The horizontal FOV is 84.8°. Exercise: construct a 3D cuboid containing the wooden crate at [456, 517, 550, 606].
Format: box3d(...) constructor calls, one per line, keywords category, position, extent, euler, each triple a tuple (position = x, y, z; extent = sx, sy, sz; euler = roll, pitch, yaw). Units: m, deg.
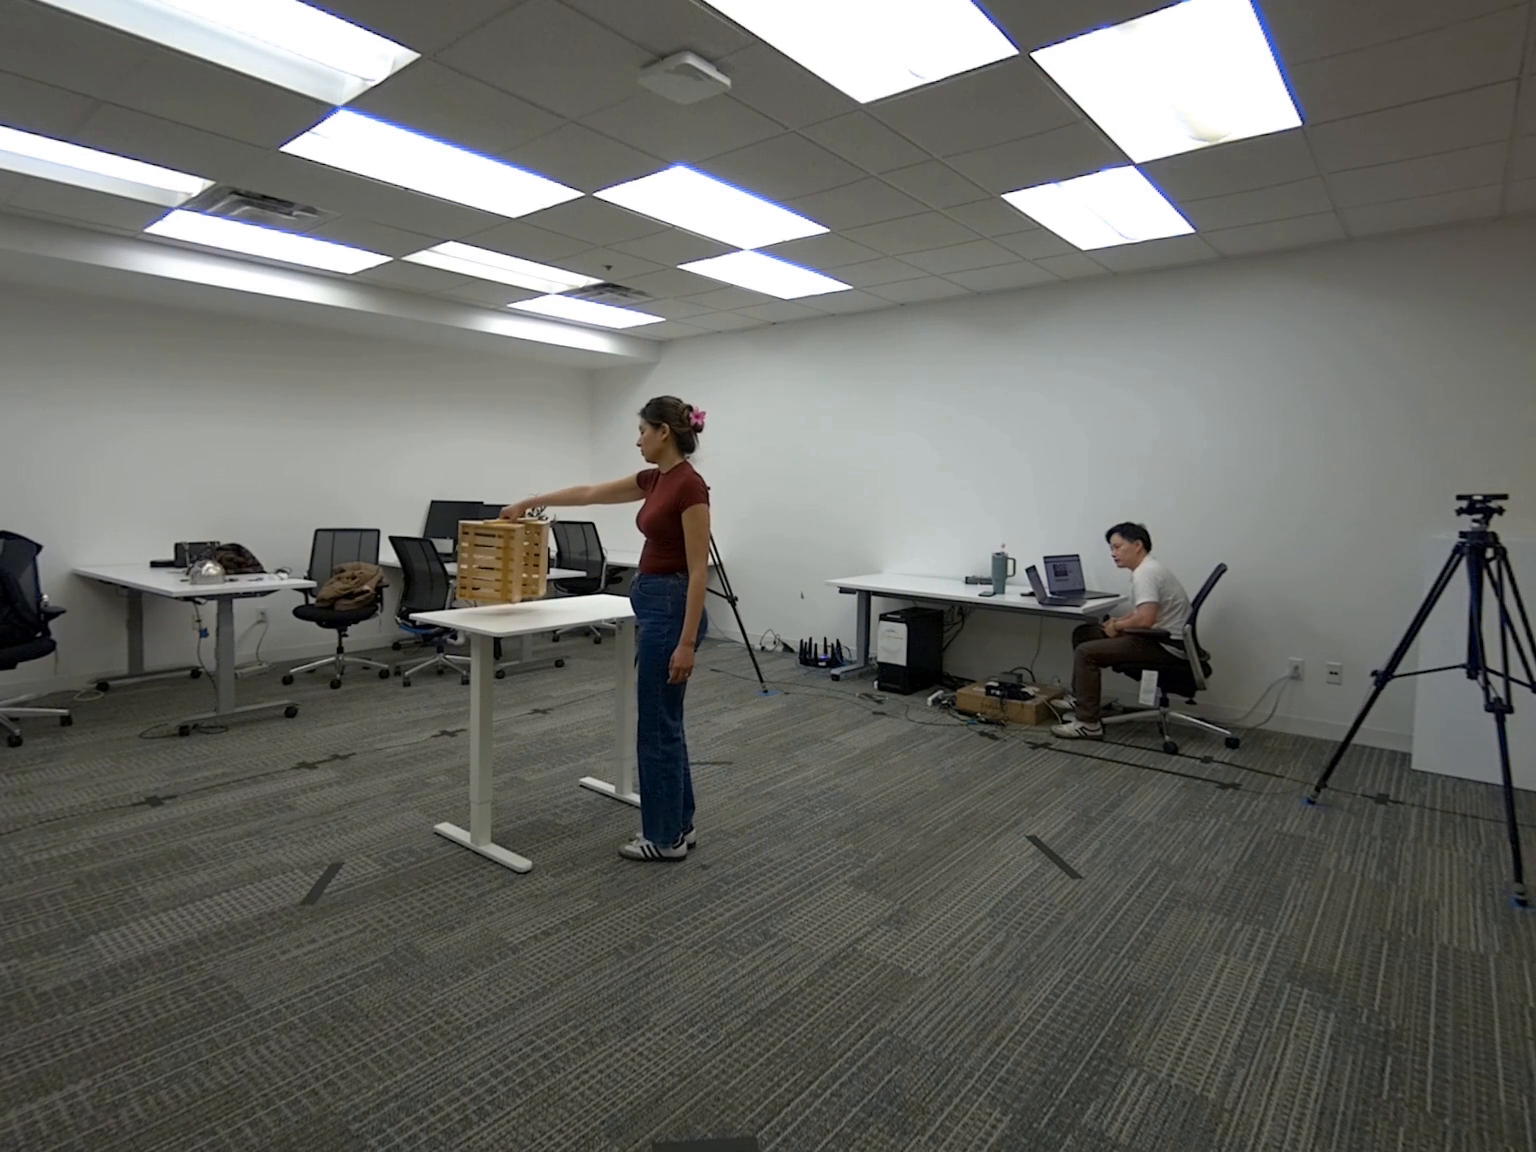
box3d(category="wooden crate", position=(-1.078, -0.068, 3.409), extent=(0.303, 0.322, 0.274), euler=(5, 7, 2))
